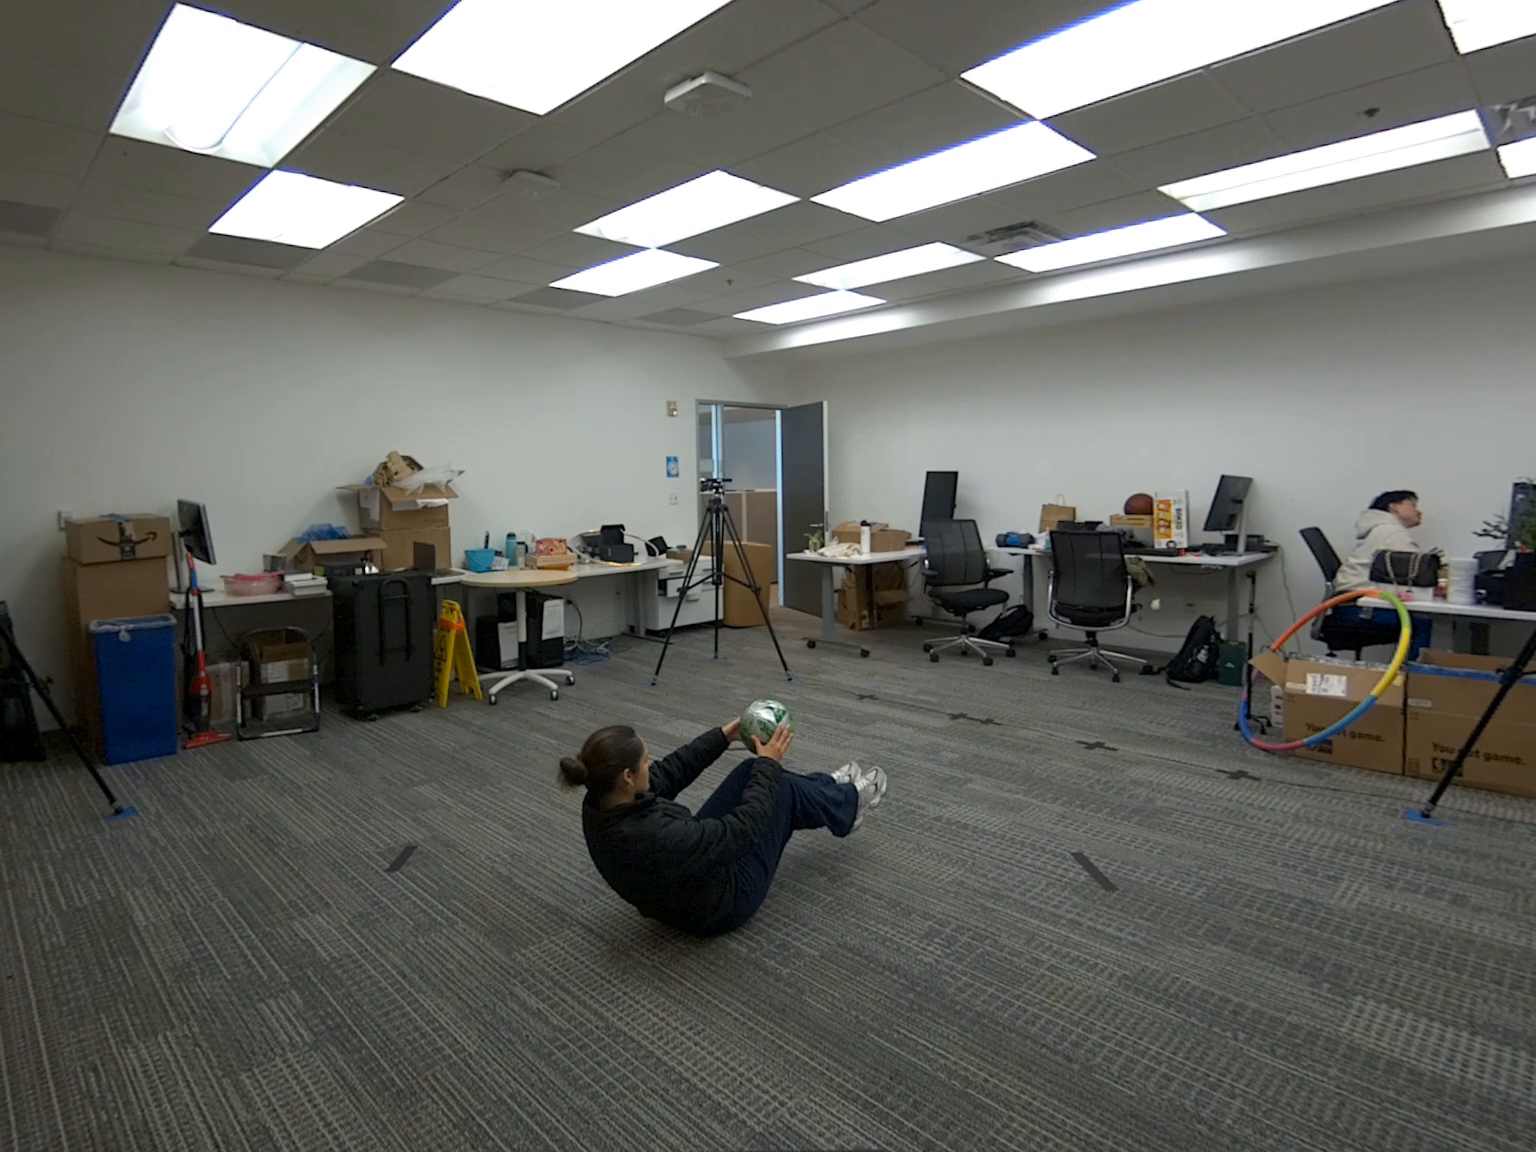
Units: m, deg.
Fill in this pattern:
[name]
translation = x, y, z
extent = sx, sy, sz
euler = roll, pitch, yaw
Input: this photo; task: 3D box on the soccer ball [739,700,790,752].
[soccer ball]
translation = 0.003, 0.513, 2.856
extent = 0.187, 0.187, 0.188
euler = 0, 1, -2
